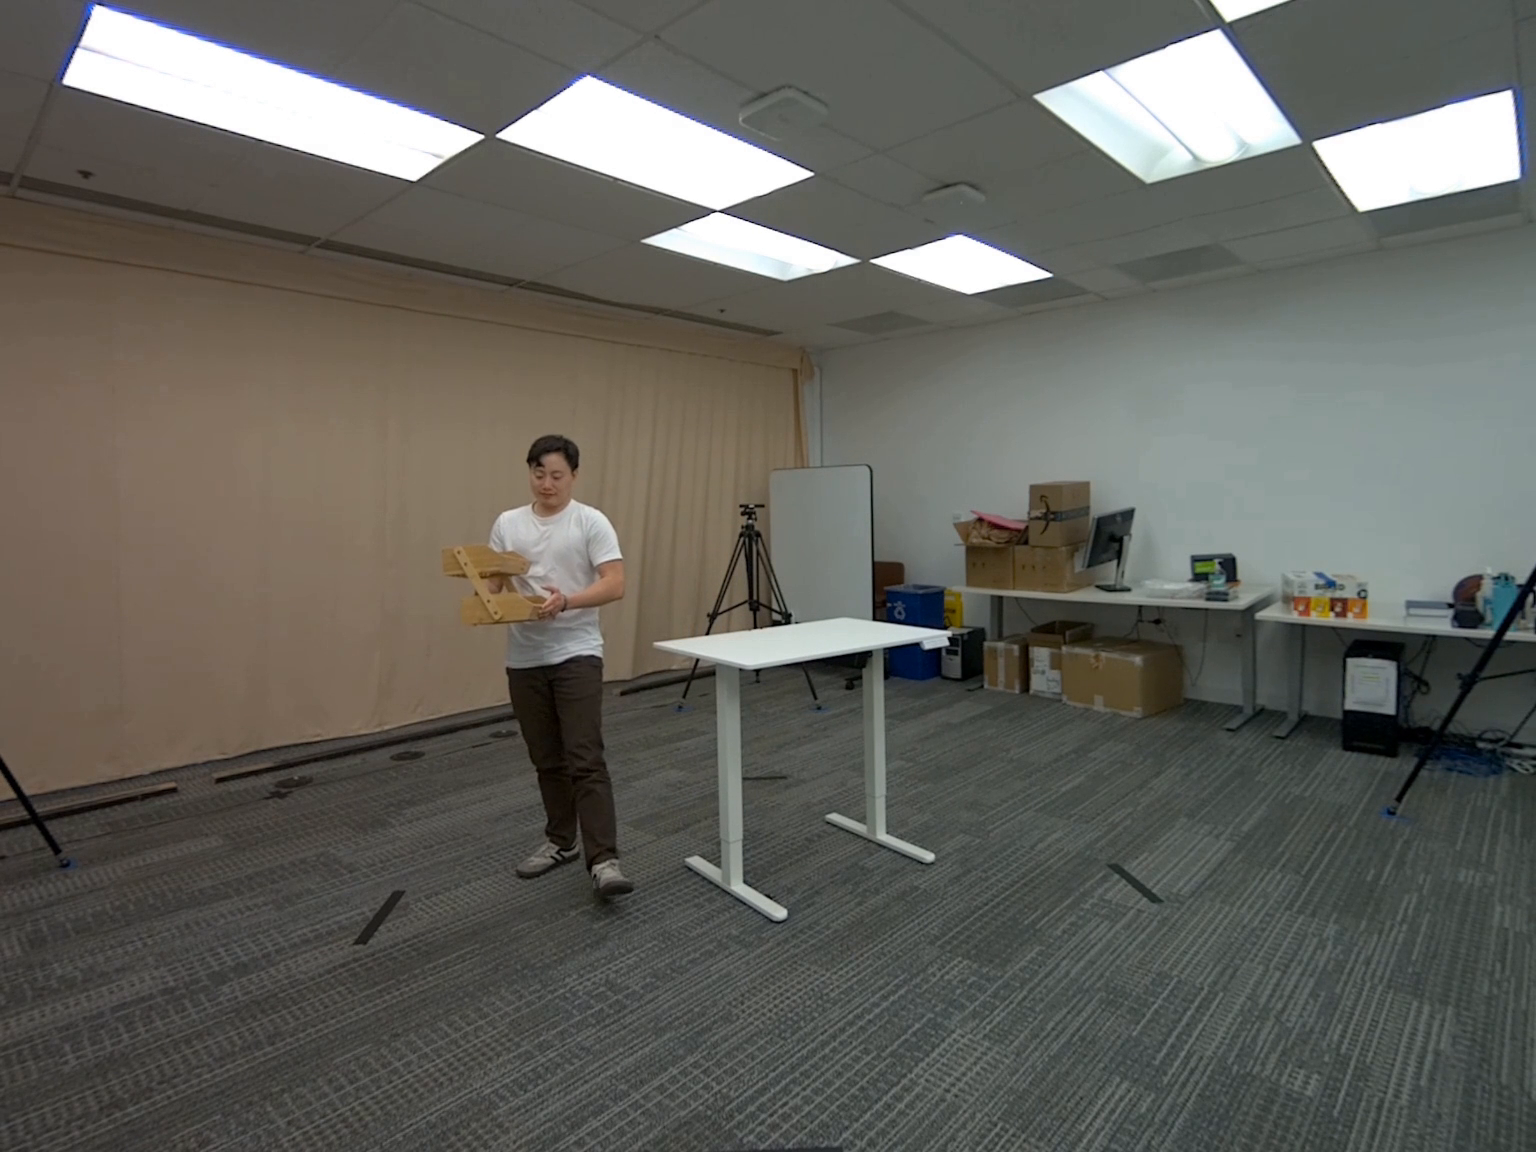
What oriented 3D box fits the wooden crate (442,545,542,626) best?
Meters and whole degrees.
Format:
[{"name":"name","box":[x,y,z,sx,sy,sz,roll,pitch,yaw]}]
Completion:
[{"name":"wooden crate","box":[-0.888,0.027,2.910,0.303,0.274,0.322,-5,-4,3]}]
